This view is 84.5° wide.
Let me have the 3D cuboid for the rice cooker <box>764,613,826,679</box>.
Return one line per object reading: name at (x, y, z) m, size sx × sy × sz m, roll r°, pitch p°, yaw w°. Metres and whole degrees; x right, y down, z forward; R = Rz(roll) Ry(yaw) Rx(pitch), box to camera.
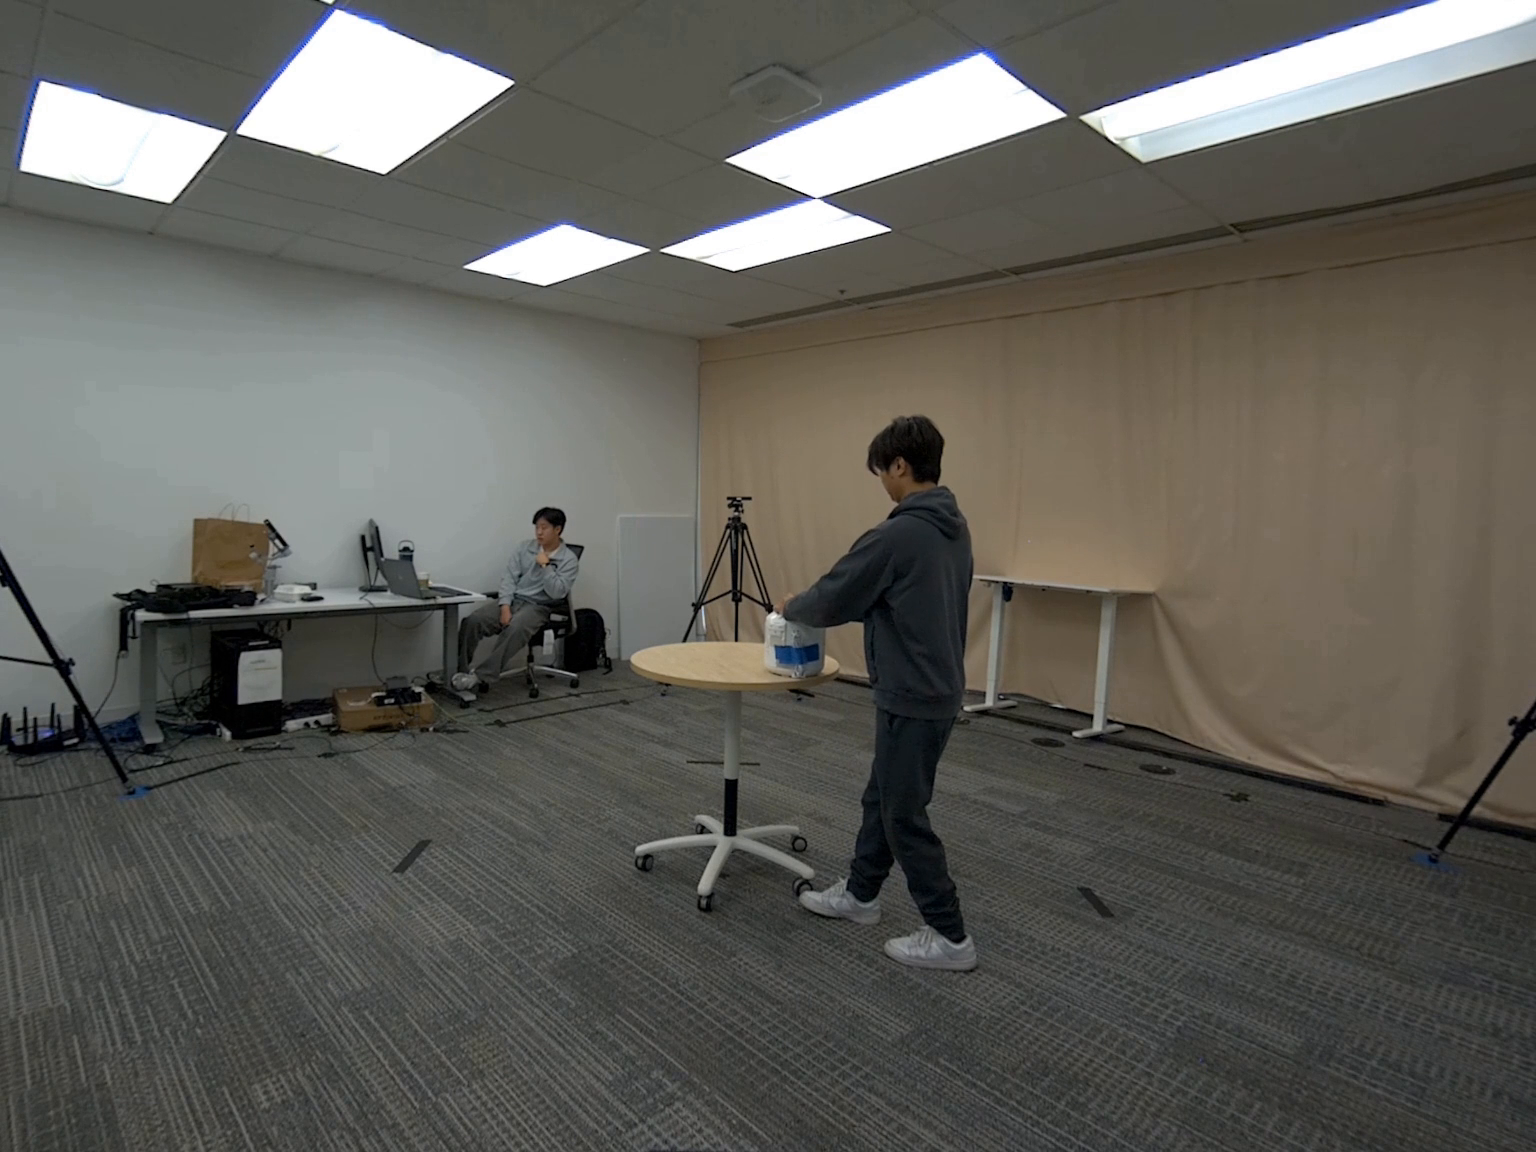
rice cooker at (0.086, 0.220, 2.901) m, size 0.223 × 0.232 × 0.215 m, roll 9°, pitch 7°, yaw 41°
